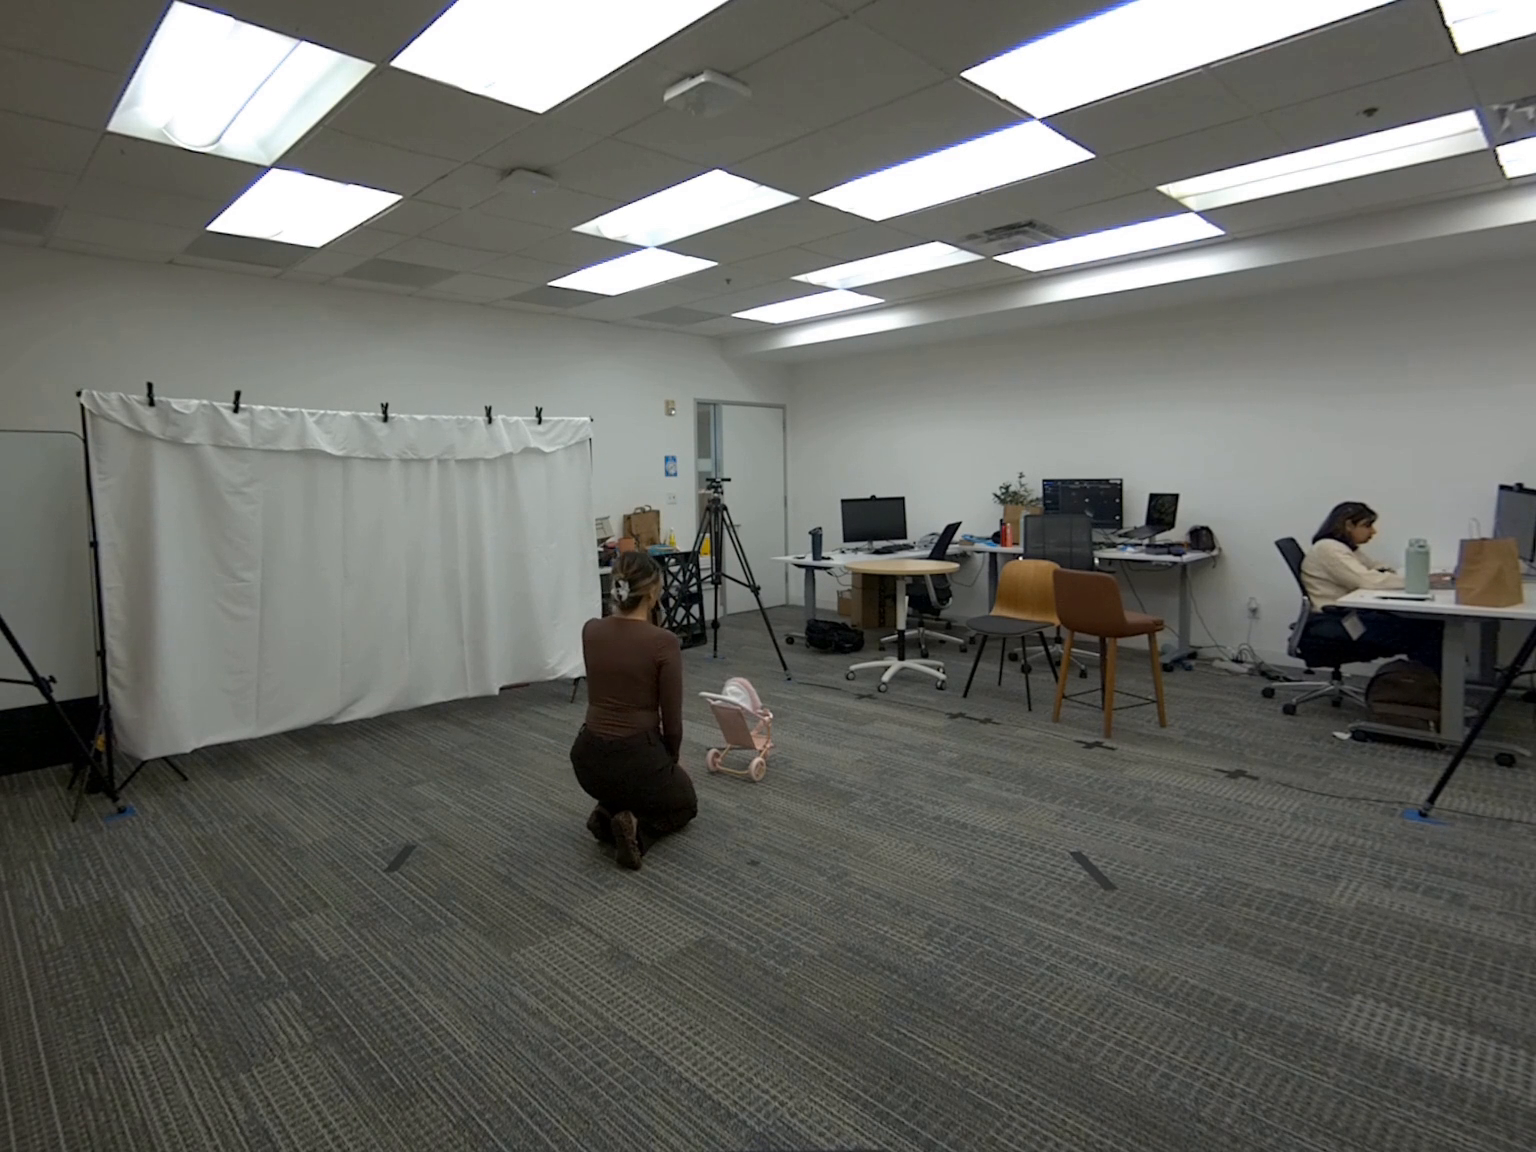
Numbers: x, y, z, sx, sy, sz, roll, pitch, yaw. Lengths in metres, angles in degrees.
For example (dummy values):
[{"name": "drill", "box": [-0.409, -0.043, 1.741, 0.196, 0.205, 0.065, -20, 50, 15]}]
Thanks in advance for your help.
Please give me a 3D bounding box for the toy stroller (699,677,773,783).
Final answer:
[{"name": "toy stroller", "box": [-0.121, 0.714, 4.058, 0.290, 0.525, 0.337, 3, 23, 38]}]
